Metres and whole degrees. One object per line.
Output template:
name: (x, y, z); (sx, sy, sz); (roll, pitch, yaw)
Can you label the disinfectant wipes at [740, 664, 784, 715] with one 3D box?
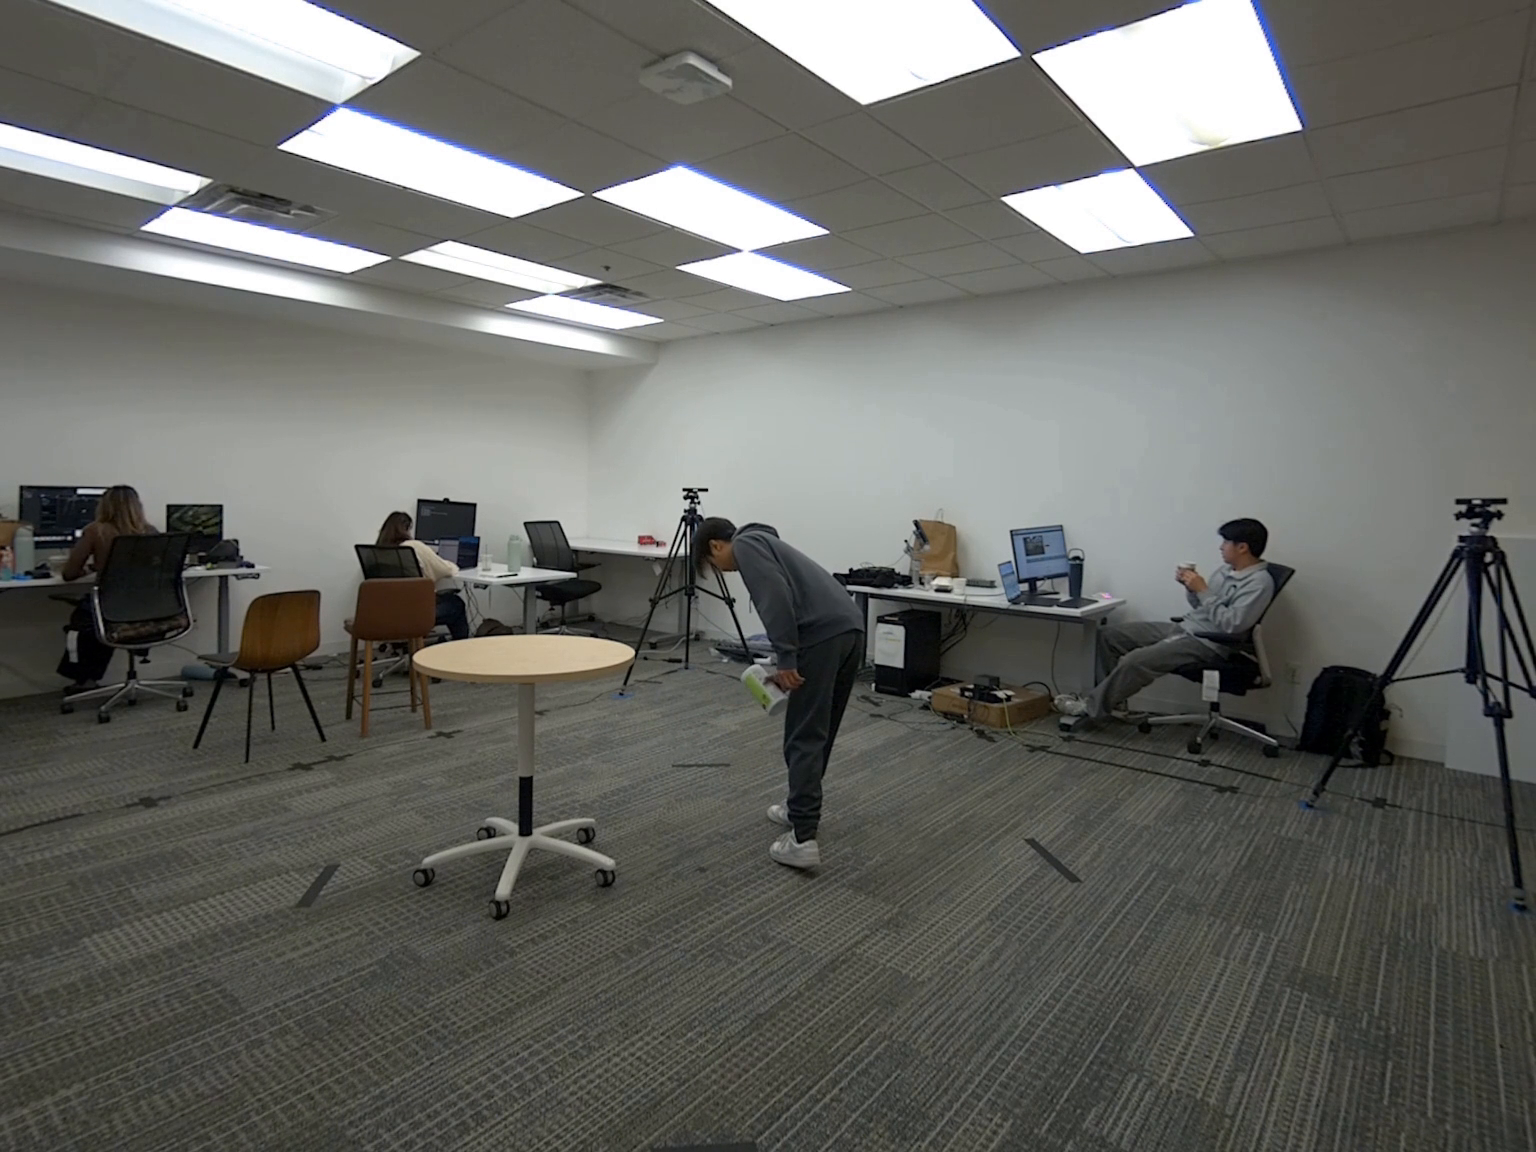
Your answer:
disinfectant wipes: (-0.024, 0.488, 3.694); (0.114, 0.117, 0.226); (-3, 43, -43)
